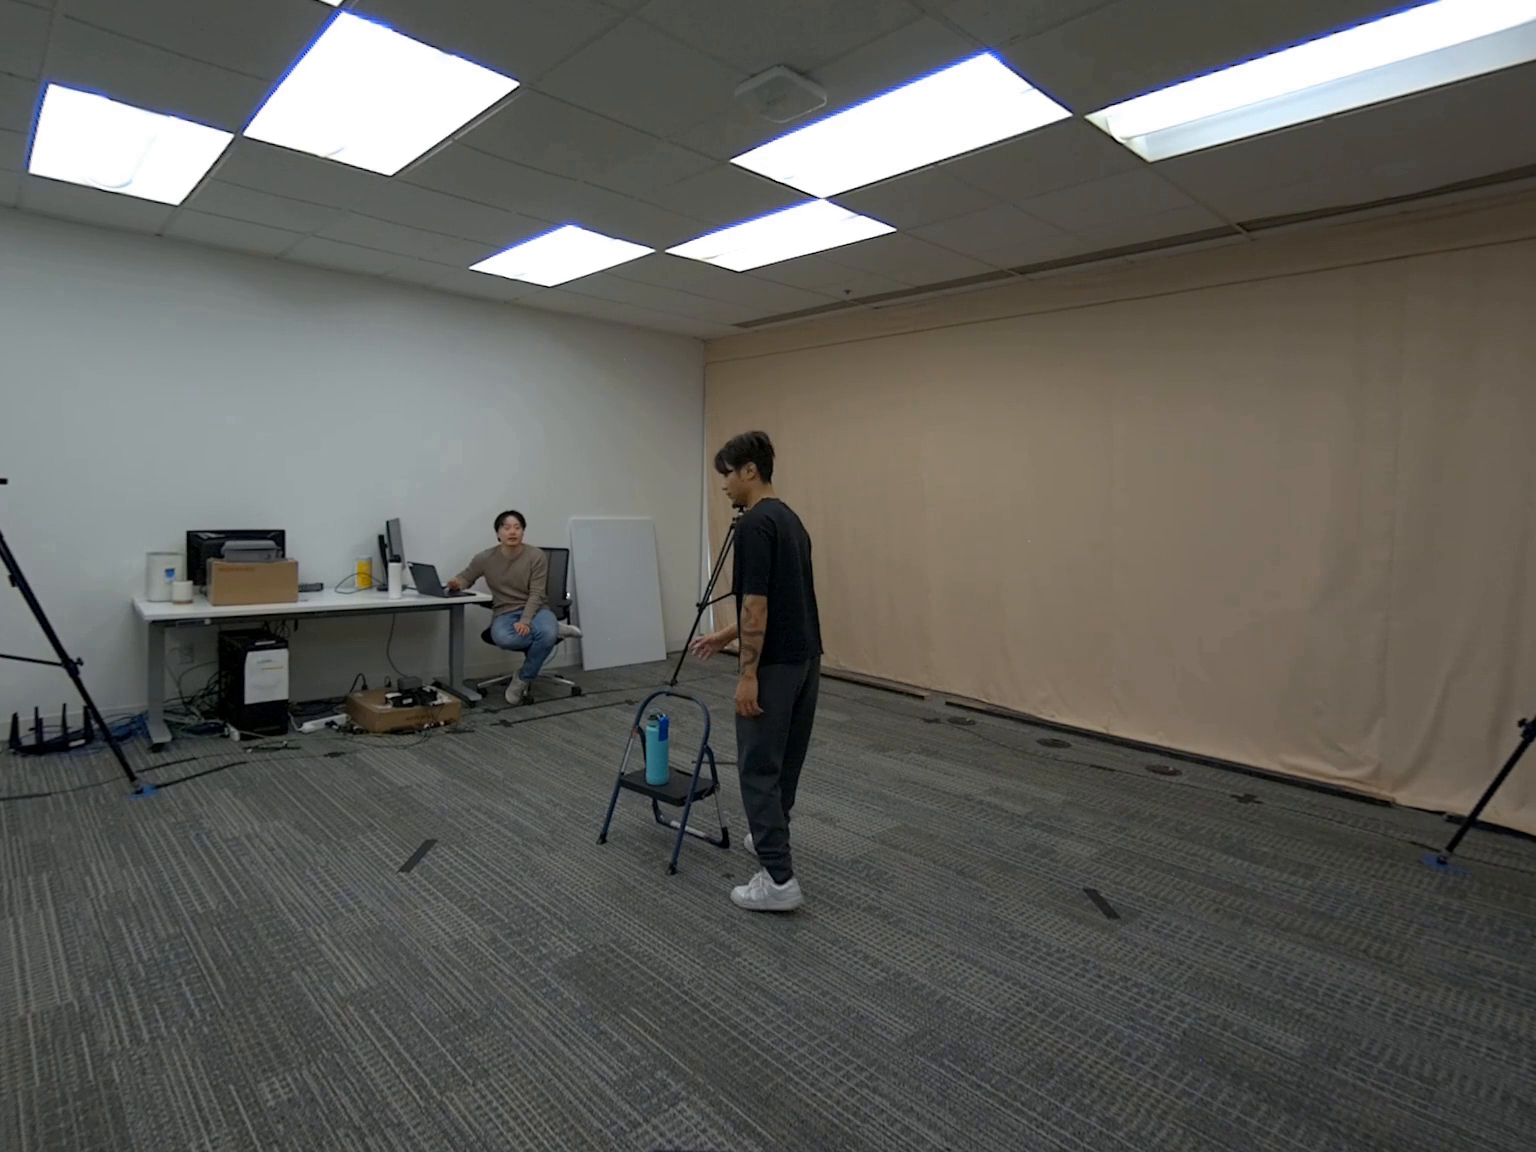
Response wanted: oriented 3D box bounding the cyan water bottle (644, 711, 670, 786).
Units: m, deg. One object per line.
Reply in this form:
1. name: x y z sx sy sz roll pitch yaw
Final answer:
1. cyan water bottle: -0.447 0.679 3.342 0.092 0.282 0.092 1 4 -1
